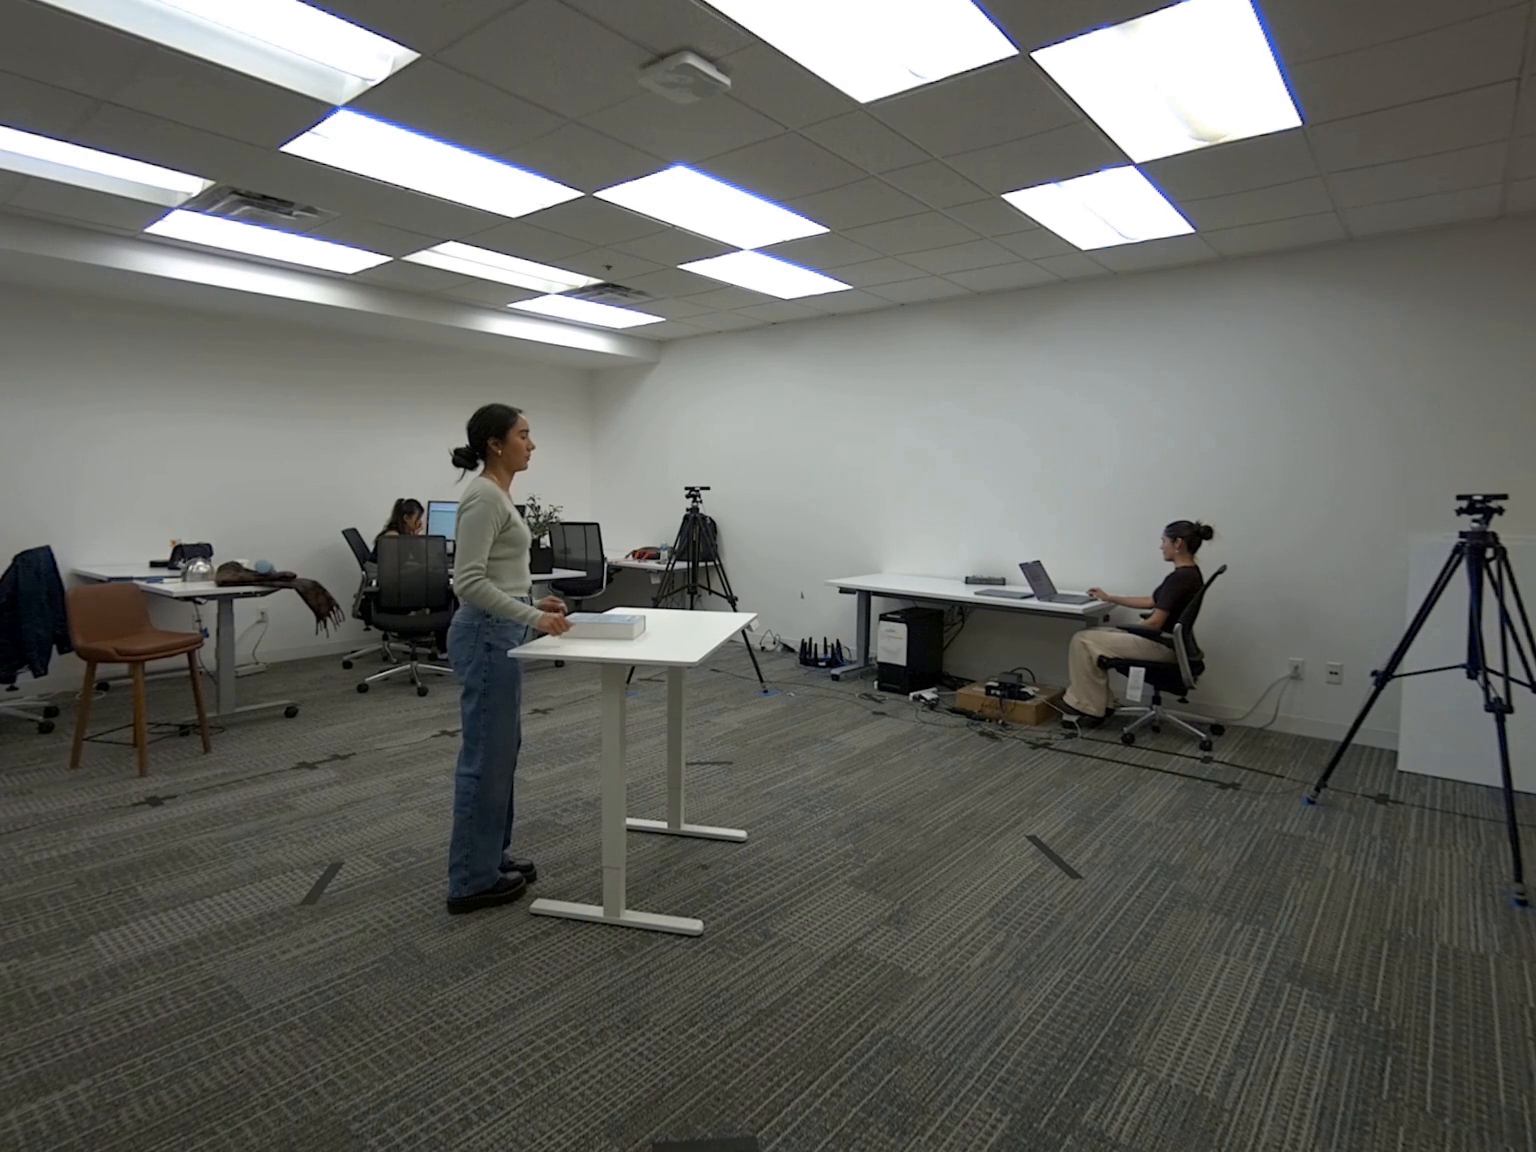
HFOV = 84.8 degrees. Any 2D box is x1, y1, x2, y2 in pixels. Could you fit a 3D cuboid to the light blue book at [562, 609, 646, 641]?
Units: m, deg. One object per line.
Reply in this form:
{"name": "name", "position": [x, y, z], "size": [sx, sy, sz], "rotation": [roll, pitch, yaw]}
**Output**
{"name": "light blue book", "position": [-0.574, 0.173, 2.913], "size": [0.263, 0.059, 0.191], "rotation": [1, 7, 5]}
